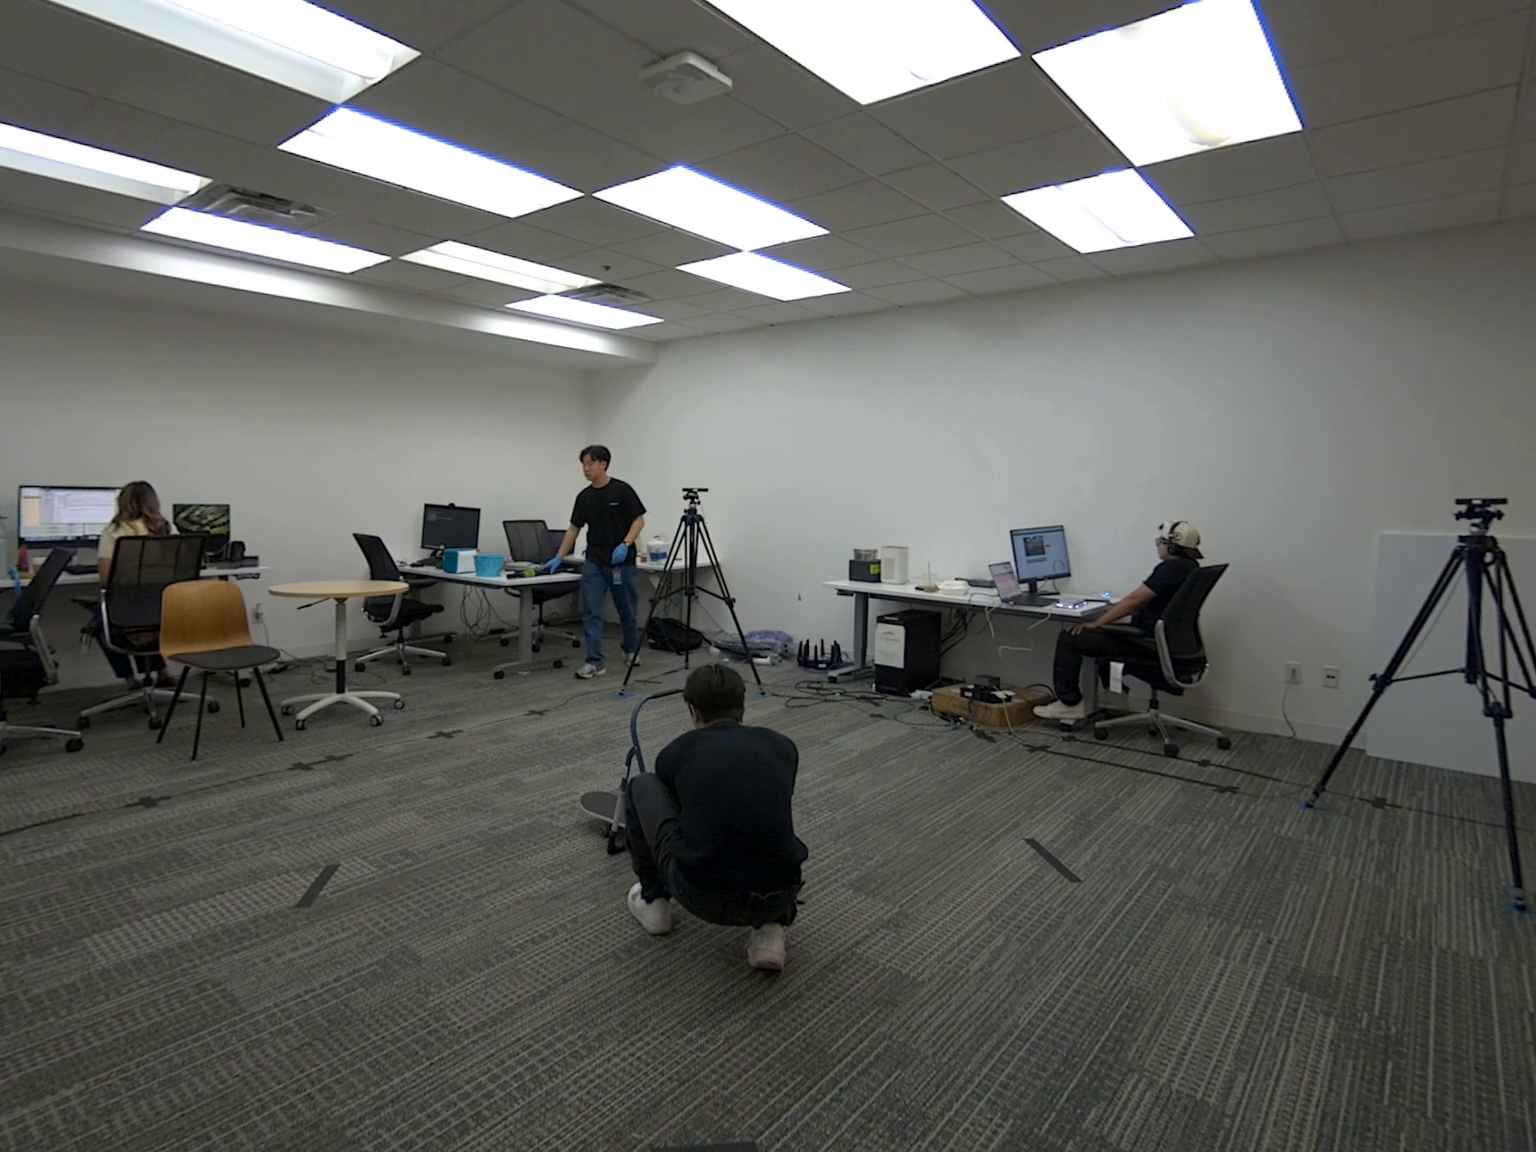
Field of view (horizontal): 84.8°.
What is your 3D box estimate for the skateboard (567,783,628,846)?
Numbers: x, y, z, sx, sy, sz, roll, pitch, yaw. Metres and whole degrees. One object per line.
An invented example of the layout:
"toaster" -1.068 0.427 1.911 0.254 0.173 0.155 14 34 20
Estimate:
"skateboard" -0.461 0.984 3.307 0.812 0.110 0.188 6 6 39
